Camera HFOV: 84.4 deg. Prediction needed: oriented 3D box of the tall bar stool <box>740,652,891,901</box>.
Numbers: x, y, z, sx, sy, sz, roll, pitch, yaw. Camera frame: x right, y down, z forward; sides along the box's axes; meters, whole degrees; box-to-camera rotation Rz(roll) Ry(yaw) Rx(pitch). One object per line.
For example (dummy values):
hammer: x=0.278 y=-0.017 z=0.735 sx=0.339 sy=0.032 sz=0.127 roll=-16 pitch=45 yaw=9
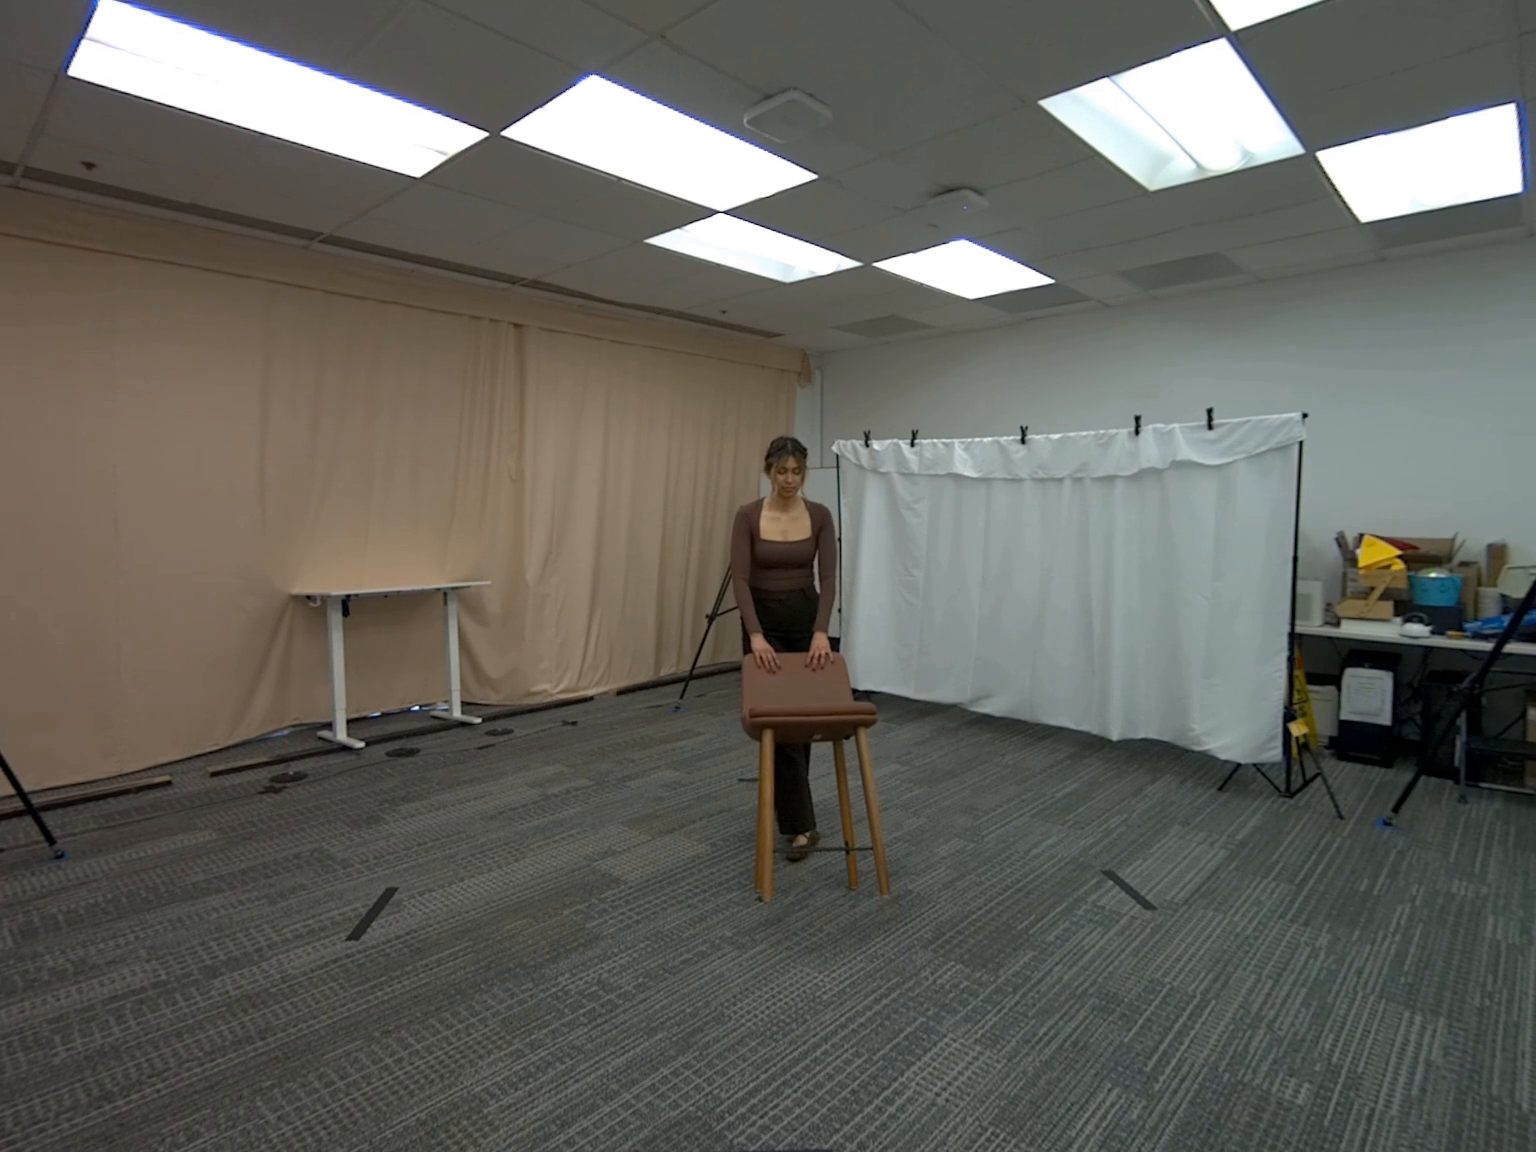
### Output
tall bar stool: x=0.155 y=0.654 z=2.999 sx=0.455 sy=0.901 sz=0.463 roll=-1 pitch=-20 yaw=-4
